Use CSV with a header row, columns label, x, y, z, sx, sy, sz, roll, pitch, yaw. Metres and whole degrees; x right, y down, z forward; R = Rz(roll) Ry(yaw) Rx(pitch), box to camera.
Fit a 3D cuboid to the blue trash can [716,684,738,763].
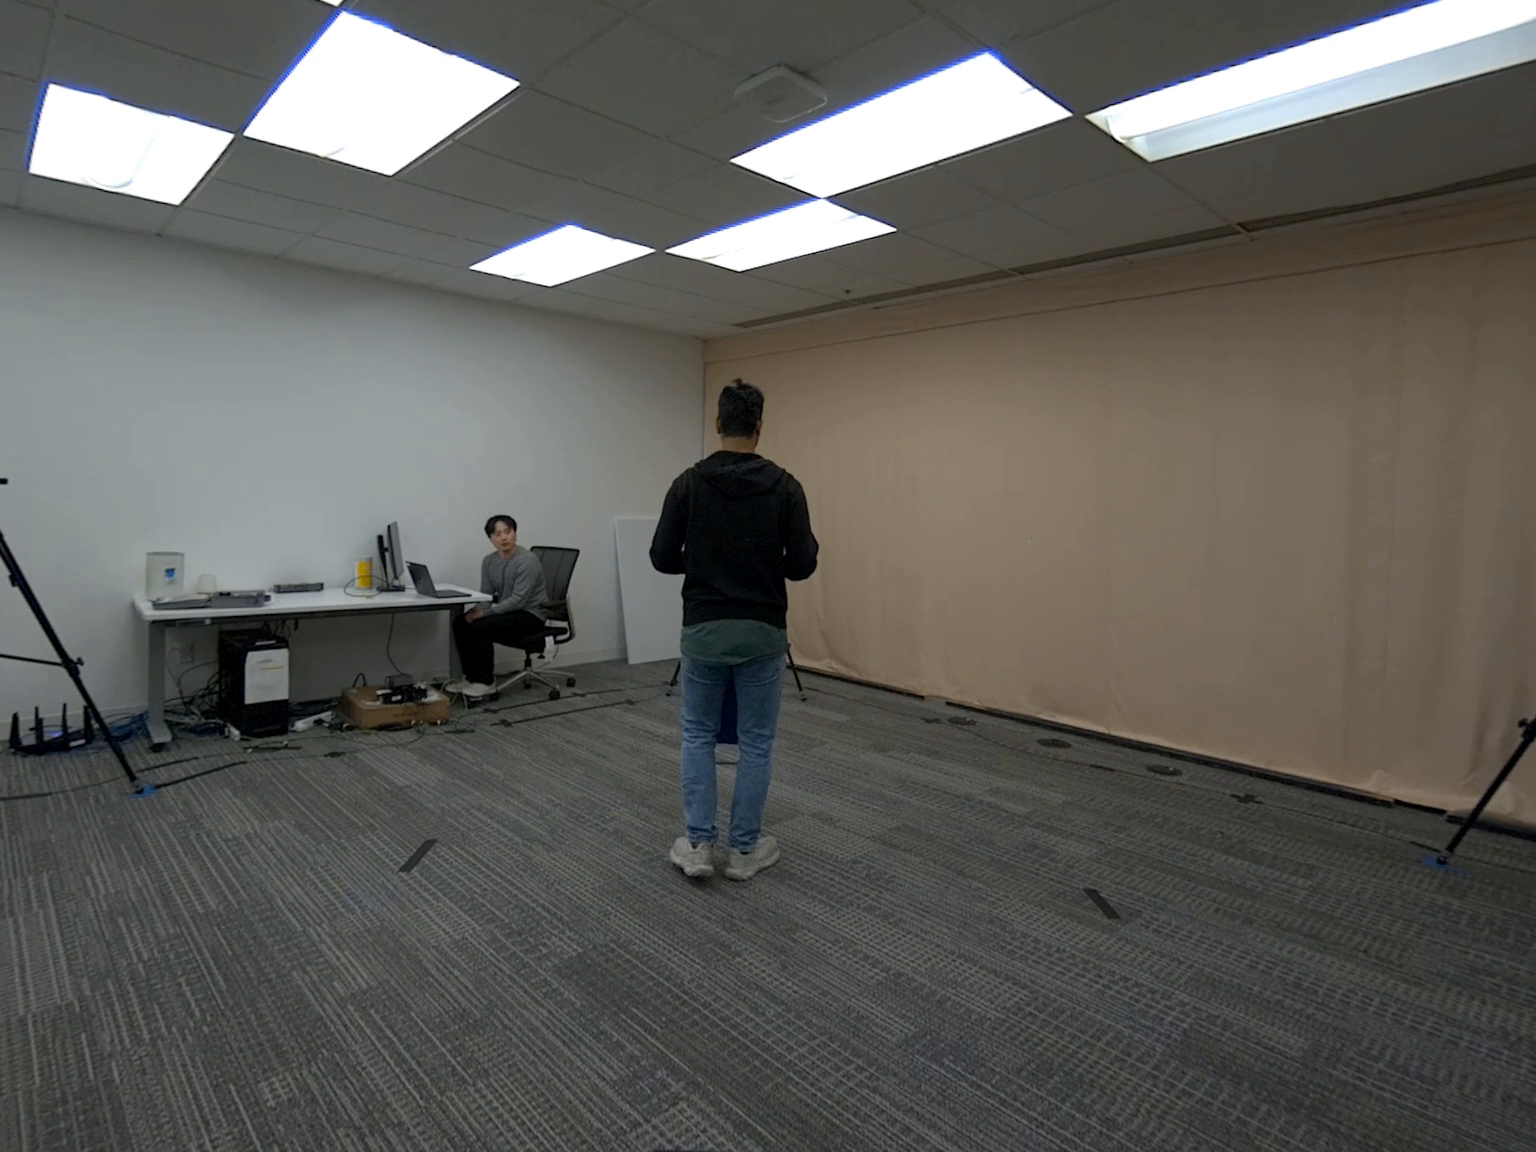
label,x,y,z,sx,sy,sz,roll,pitch,yaw
blue trash can,-0.127,0.299,3.428,0.377,0.710,0.377,1,6,9
